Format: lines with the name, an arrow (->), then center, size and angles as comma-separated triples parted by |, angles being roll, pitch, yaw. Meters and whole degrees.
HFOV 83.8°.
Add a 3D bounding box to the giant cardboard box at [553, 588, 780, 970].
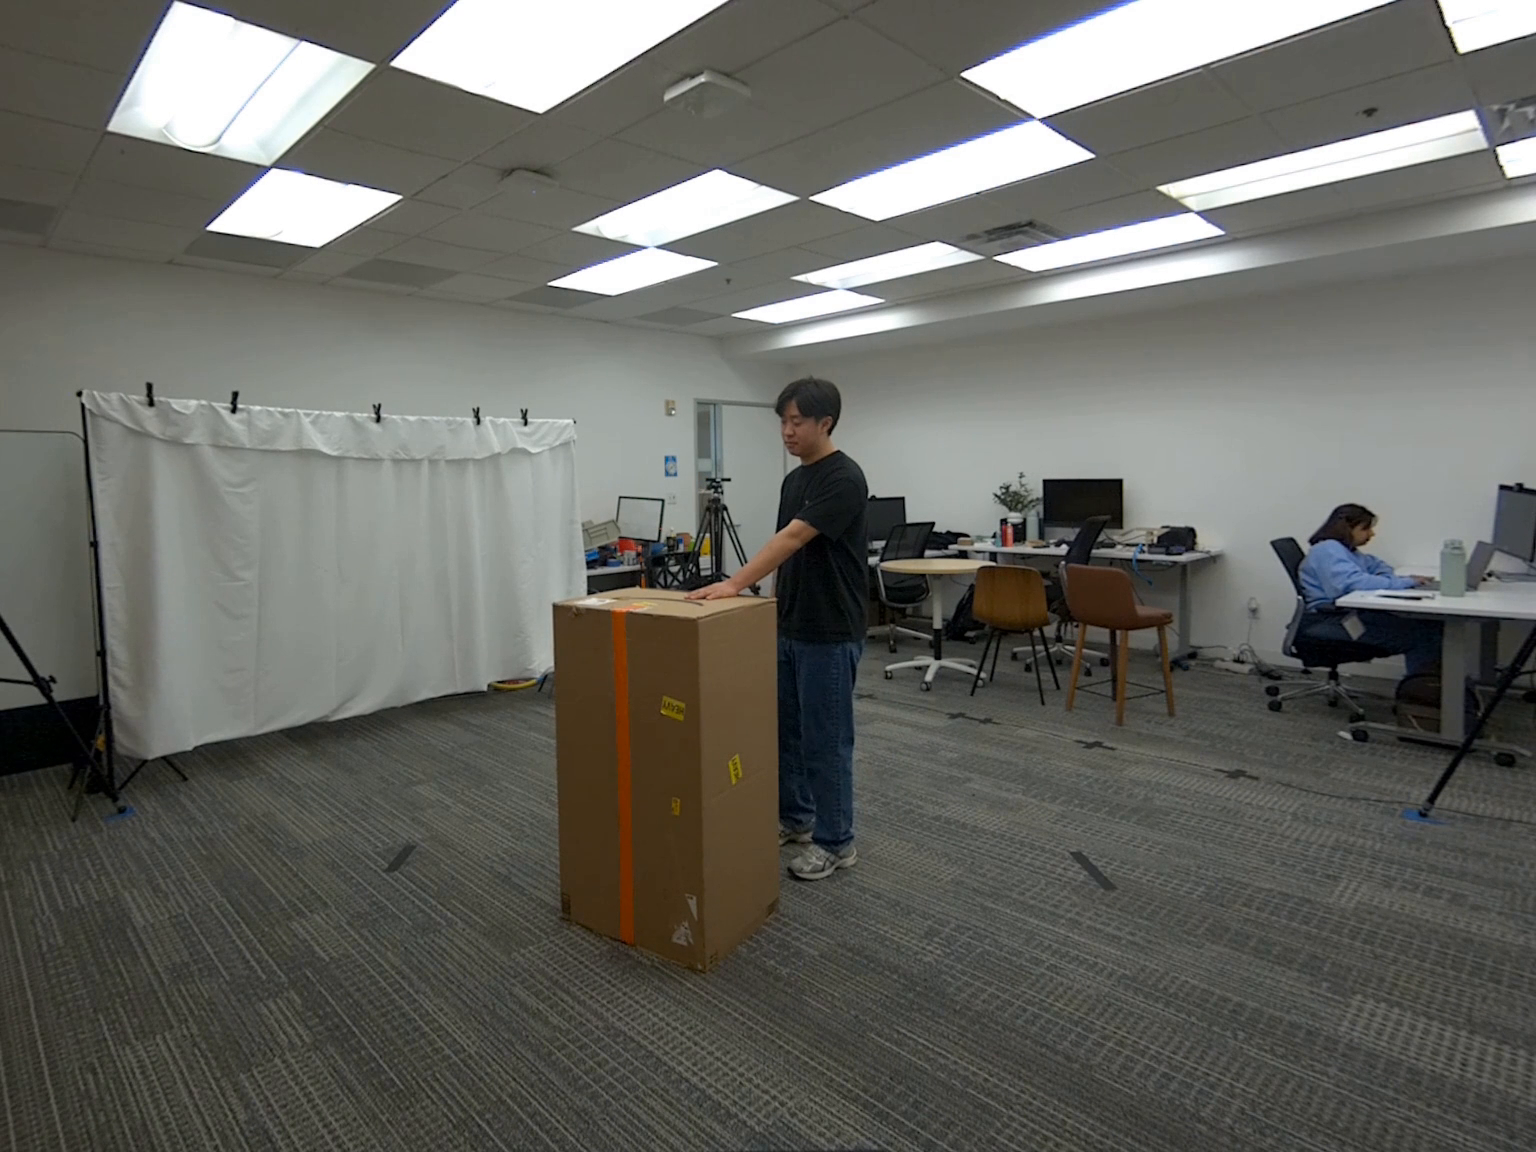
giant cardboard box -> -0.321, 0.580, 2.715 | 0.600, 1.023, 0.436 | 2, 6, 35
